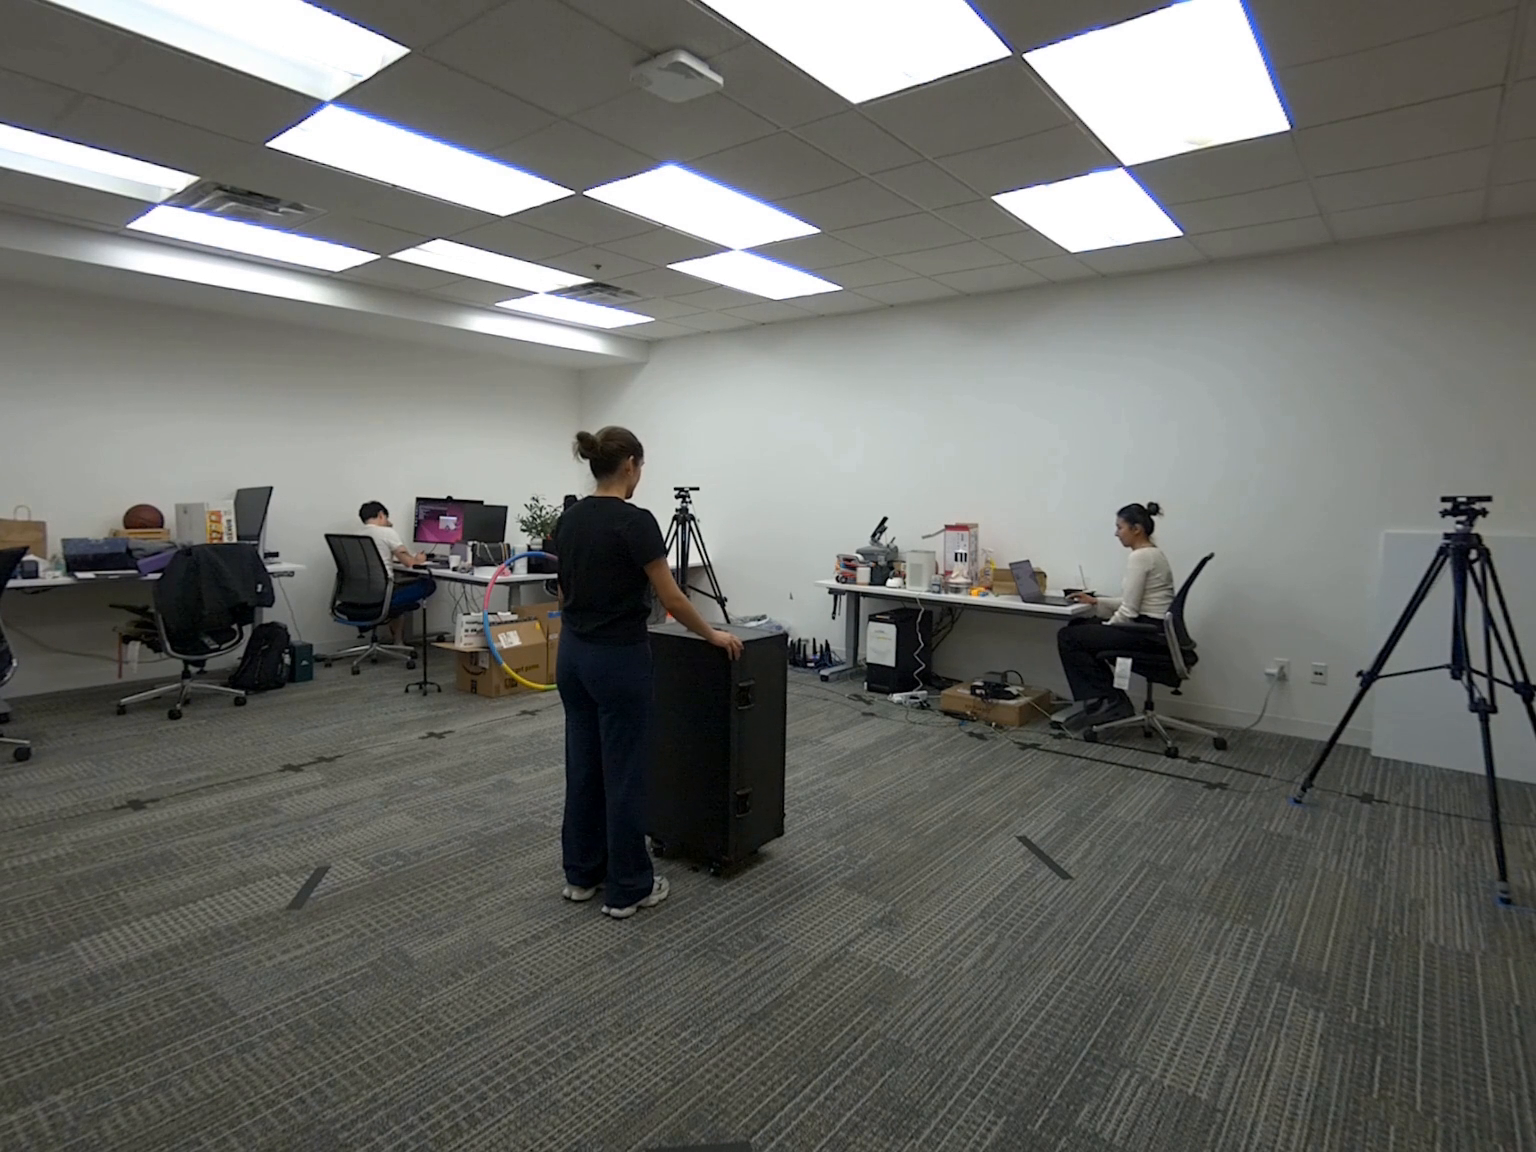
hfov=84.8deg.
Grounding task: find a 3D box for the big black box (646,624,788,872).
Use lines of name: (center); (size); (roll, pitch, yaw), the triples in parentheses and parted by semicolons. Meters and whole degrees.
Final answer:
big black box: (-0.208, 0.626, 3.270); (0.538, 0.860, 0.384); (3, 2, 38)
